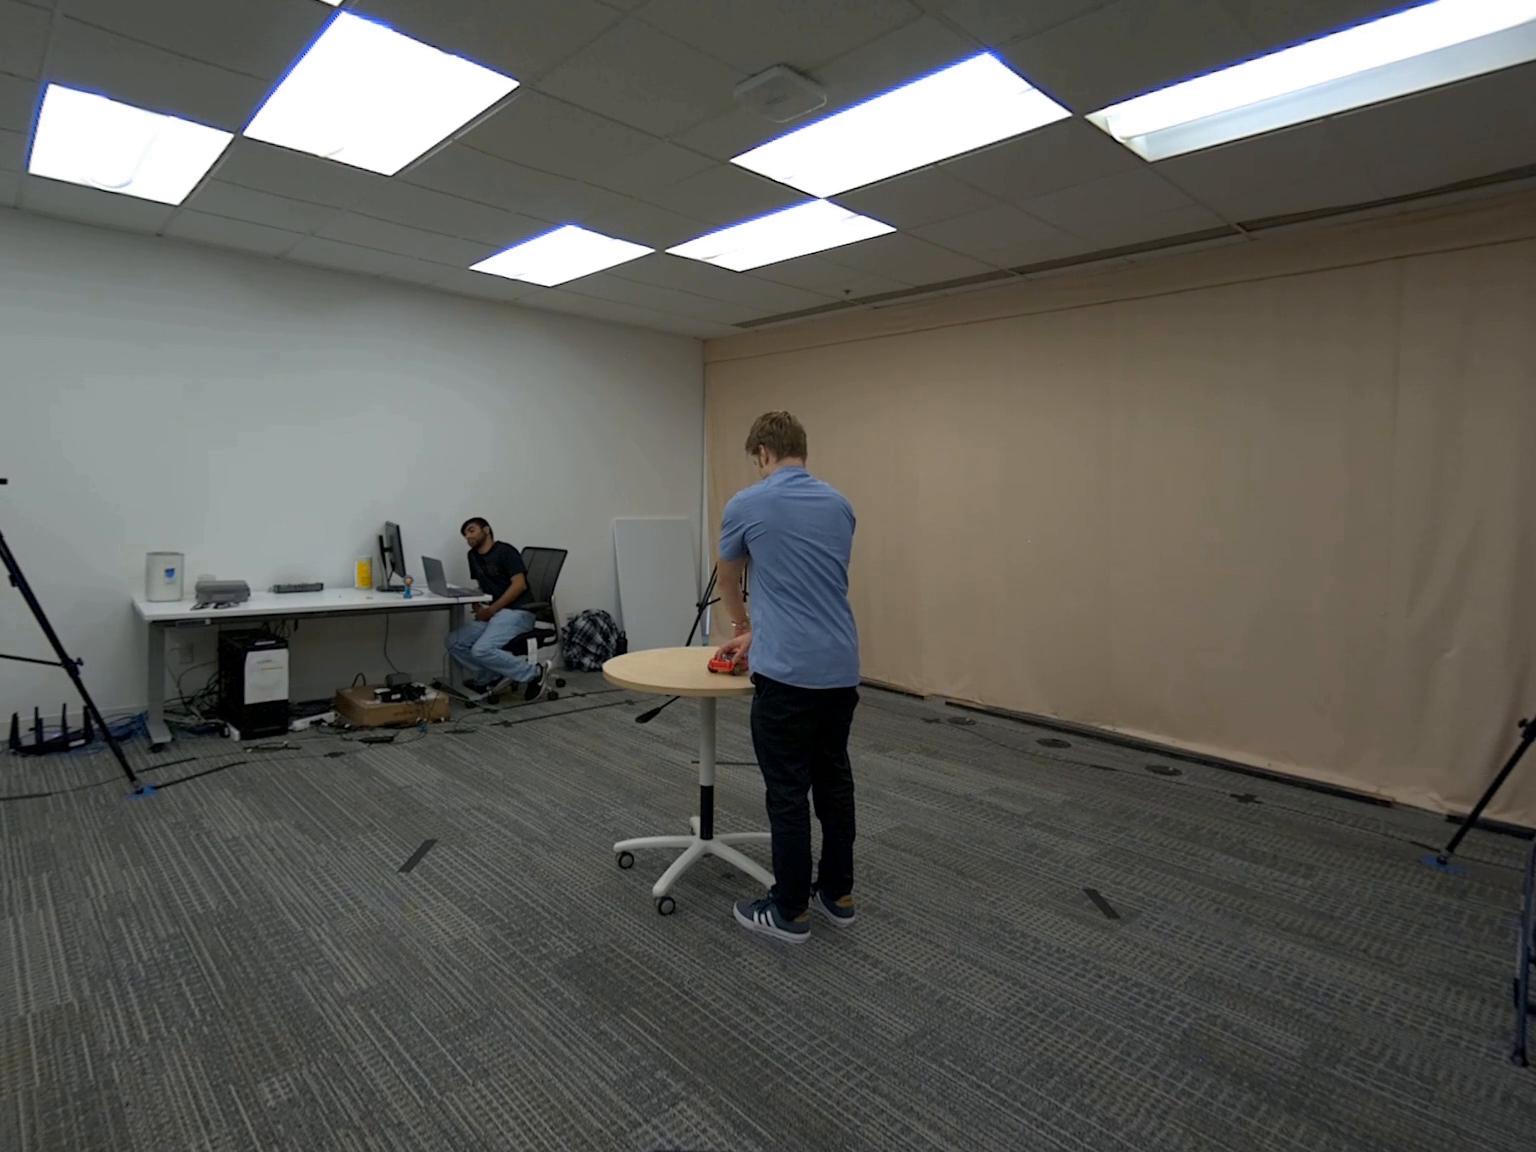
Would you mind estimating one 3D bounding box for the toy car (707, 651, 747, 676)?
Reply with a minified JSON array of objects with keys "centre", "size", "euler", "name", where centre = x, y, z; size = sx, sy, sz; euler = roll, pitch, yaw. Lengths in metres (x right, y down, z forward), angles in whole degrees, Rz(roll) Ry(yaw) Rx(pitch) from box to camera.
[{"centre":[-0.118,0.301,2.991],"size":[0.133,0.082,0.252],"euler":[3,19,29],"name":"toy car"}]
